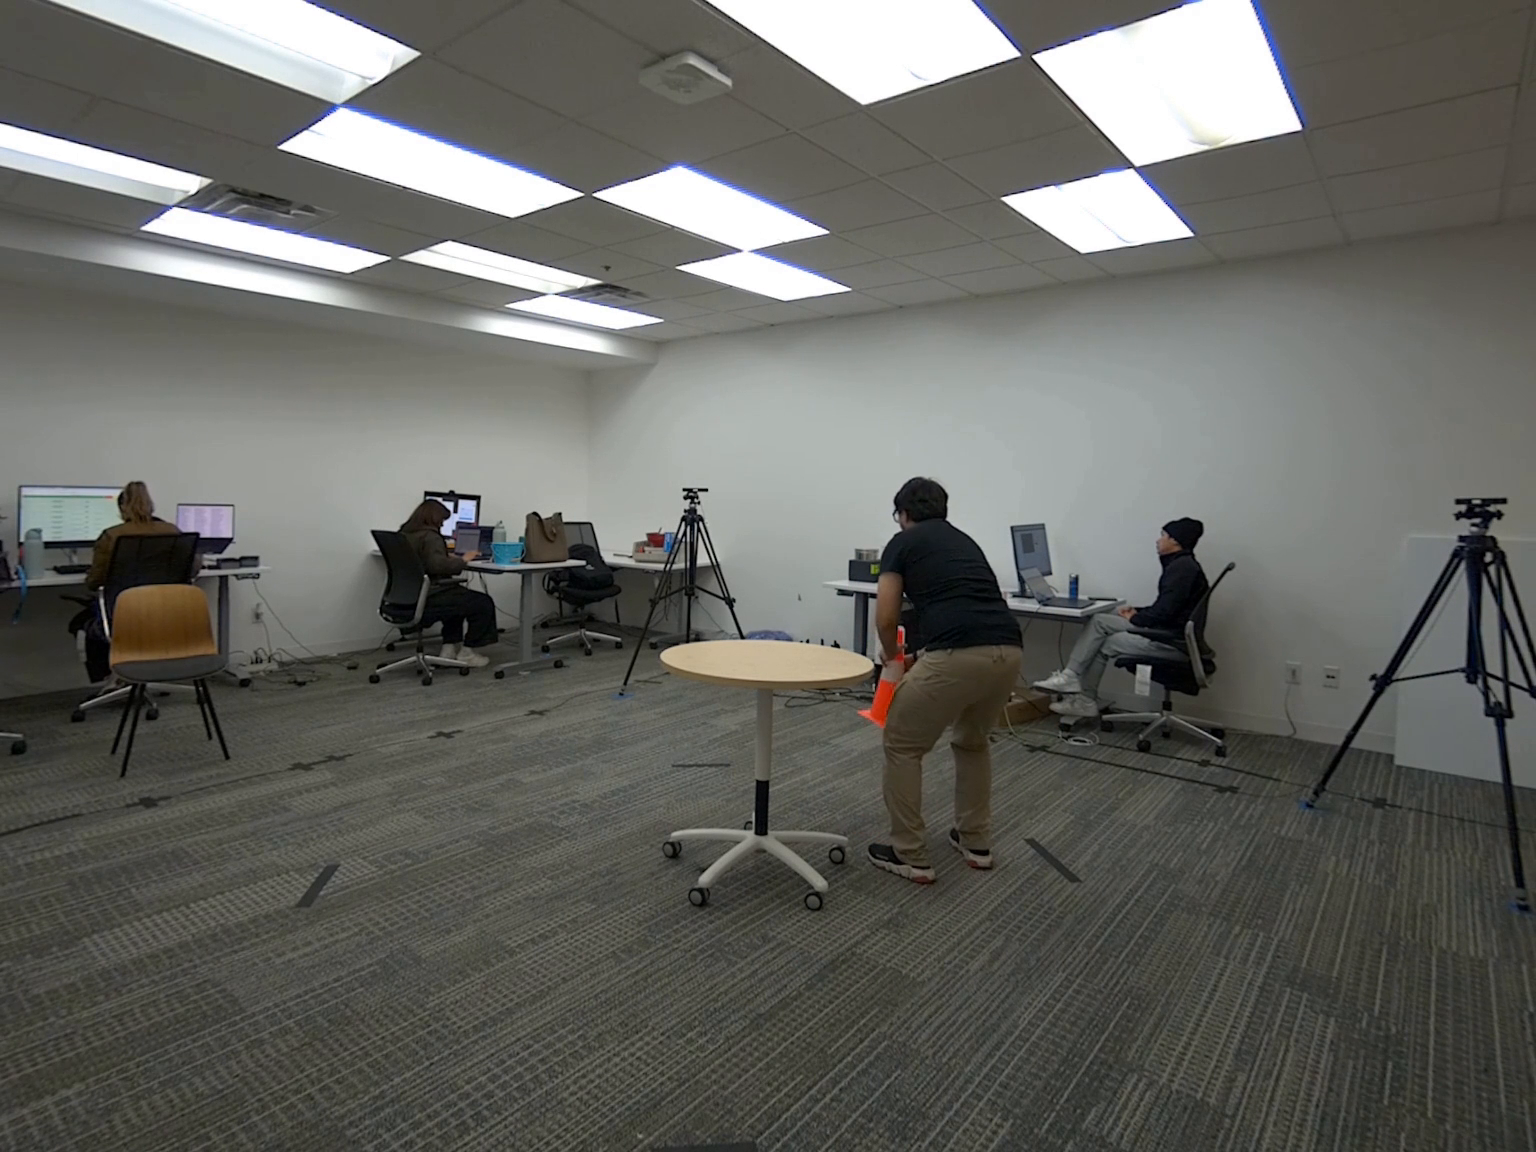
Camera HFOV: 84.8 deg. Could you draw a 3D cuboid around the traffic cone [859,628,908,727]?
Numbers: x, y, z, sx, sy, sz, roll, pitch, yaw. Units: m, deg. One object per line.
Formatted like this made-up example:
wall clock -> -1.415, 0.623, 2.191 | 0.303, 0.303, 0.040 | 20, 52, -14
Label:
traffic cone -> 0.519, 0.409, 3.561 | 0.197, 0.382, 0.212 | 1, 8, -34
